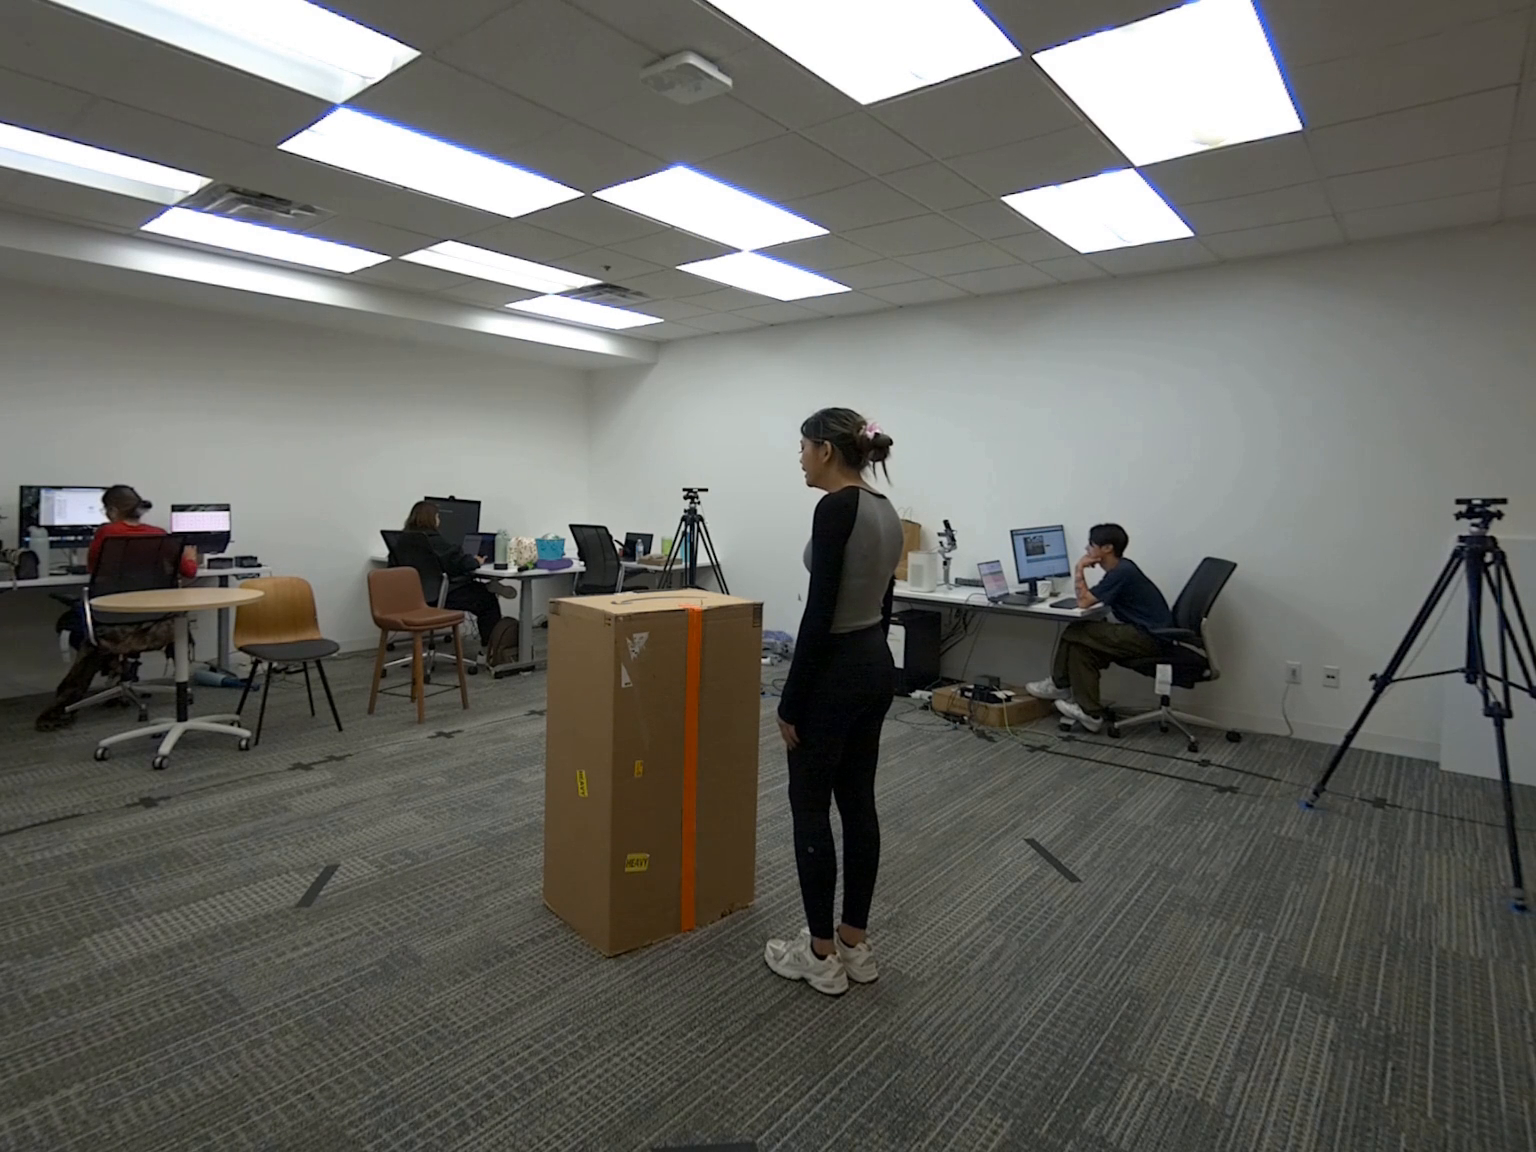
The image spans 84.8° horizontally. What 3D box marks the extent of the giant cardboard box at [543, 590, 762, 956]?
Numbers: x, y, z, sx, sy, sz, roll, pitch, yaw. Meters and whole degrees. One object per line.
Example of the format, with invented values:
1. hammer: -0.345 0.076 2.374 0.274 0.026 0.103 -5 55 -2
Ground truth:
1. giant cardboard box: -0.389 0.588 2.814 0.566 1.025 0.462 -1 3 -41
